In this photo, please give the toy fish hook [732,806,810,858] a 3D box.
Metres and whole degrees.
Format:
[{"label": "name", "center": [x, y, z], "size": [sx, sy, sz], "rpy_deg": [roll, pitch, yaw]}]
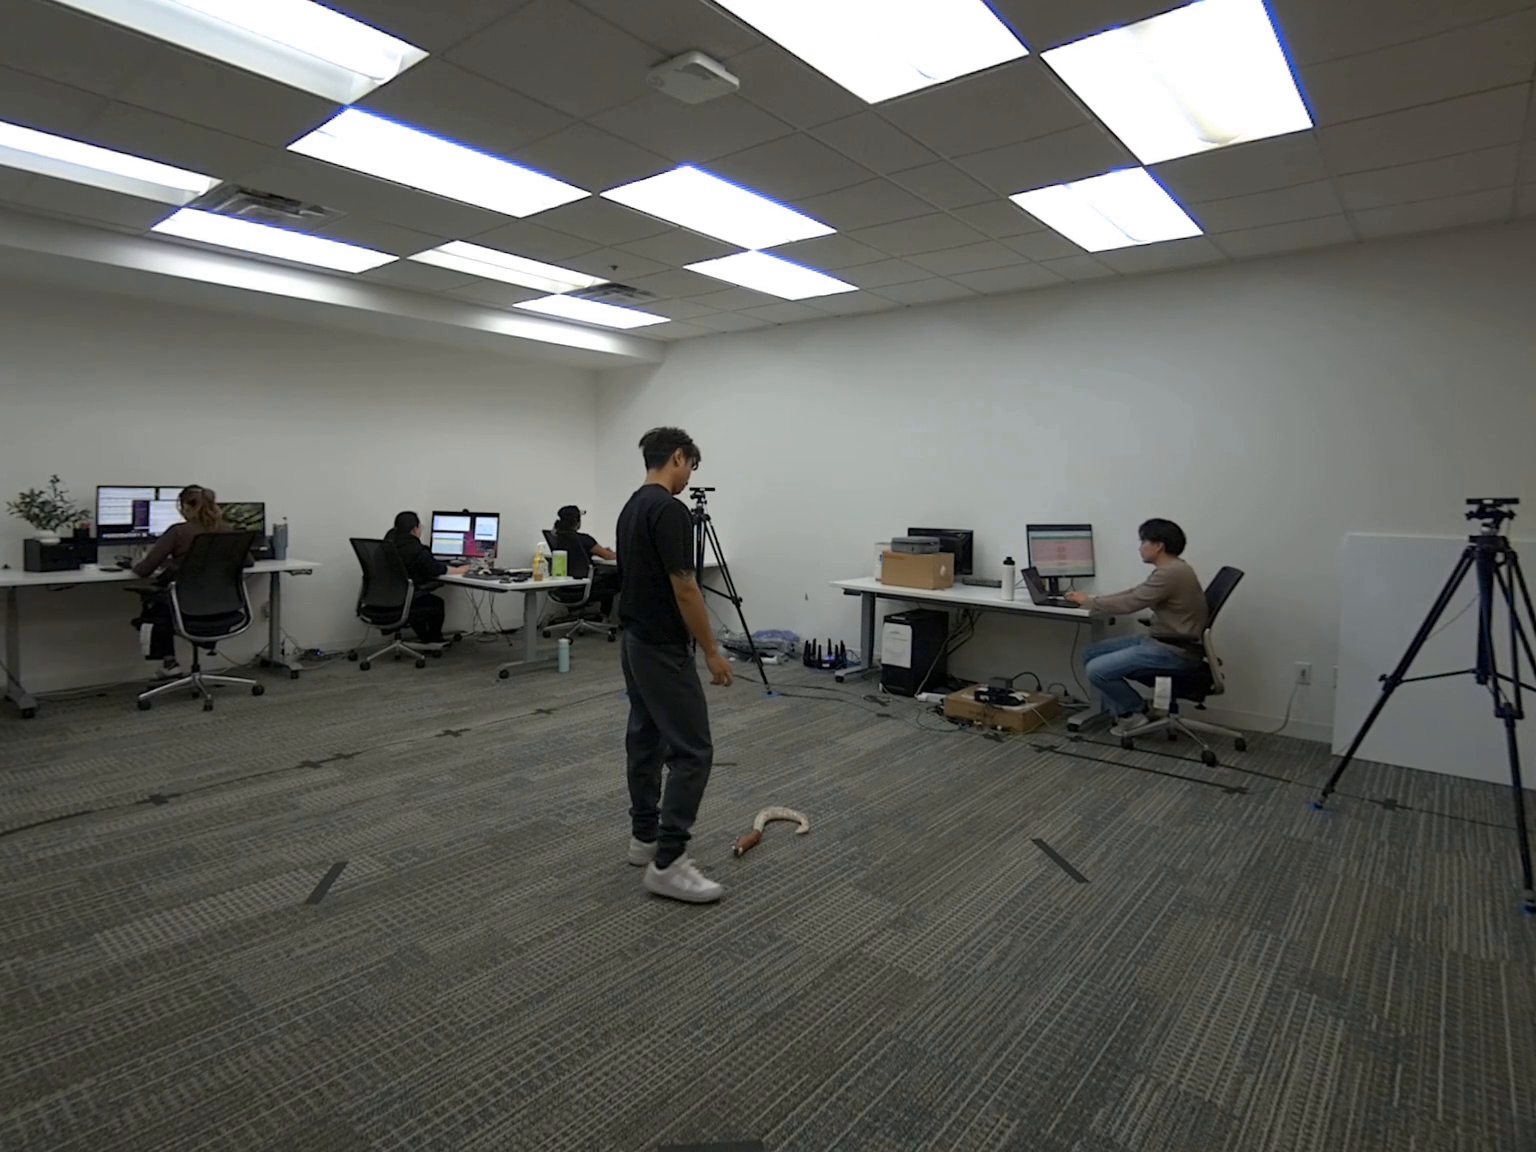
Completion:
[{"label": "toy fish hook", "center": [0.008, 1.019, 3.399], "size": [0.230, 0.048, 0.496], "rpy_deg": [2, 6, 23]}]
